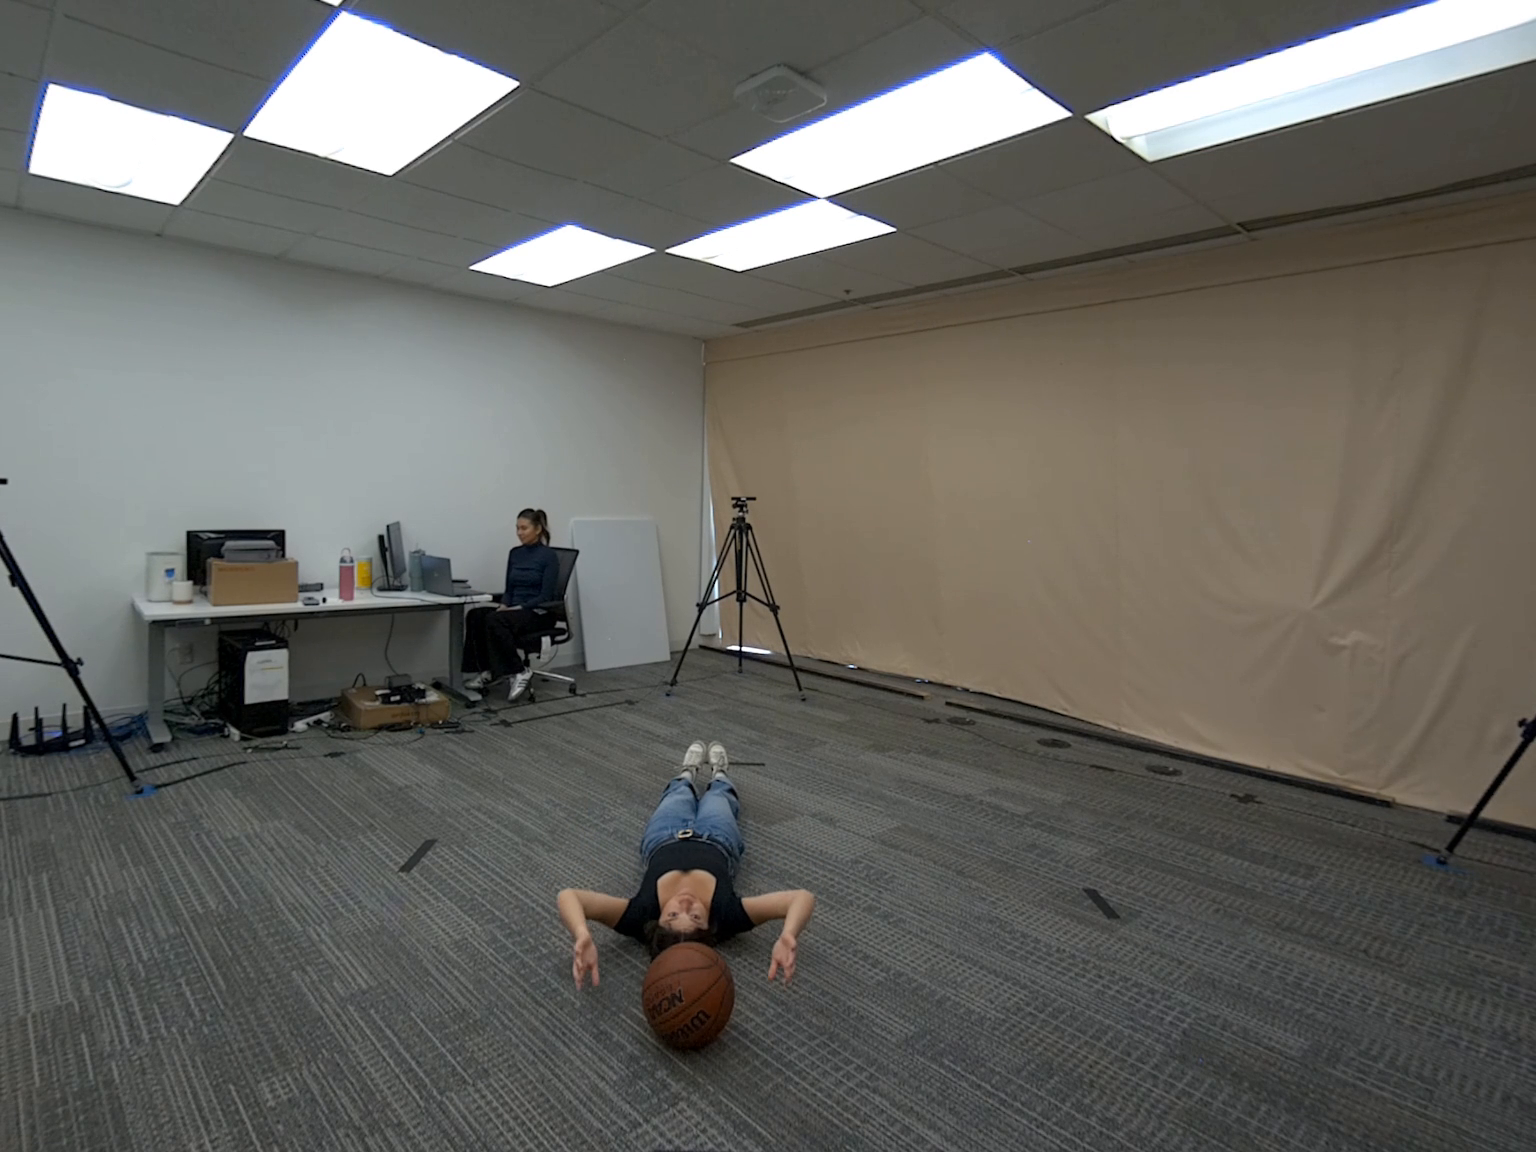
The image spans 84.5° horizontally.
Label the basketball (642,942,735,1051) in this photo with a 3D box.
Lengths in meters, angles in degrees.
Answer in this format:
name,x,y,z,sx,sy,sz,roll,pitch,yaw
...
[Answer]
name,x,y,z,sx,sy,sz,roll,pitch,yaw
basketball,-0.210,1.072,2.157,0.236,0.235,0.237,1,4,-1
